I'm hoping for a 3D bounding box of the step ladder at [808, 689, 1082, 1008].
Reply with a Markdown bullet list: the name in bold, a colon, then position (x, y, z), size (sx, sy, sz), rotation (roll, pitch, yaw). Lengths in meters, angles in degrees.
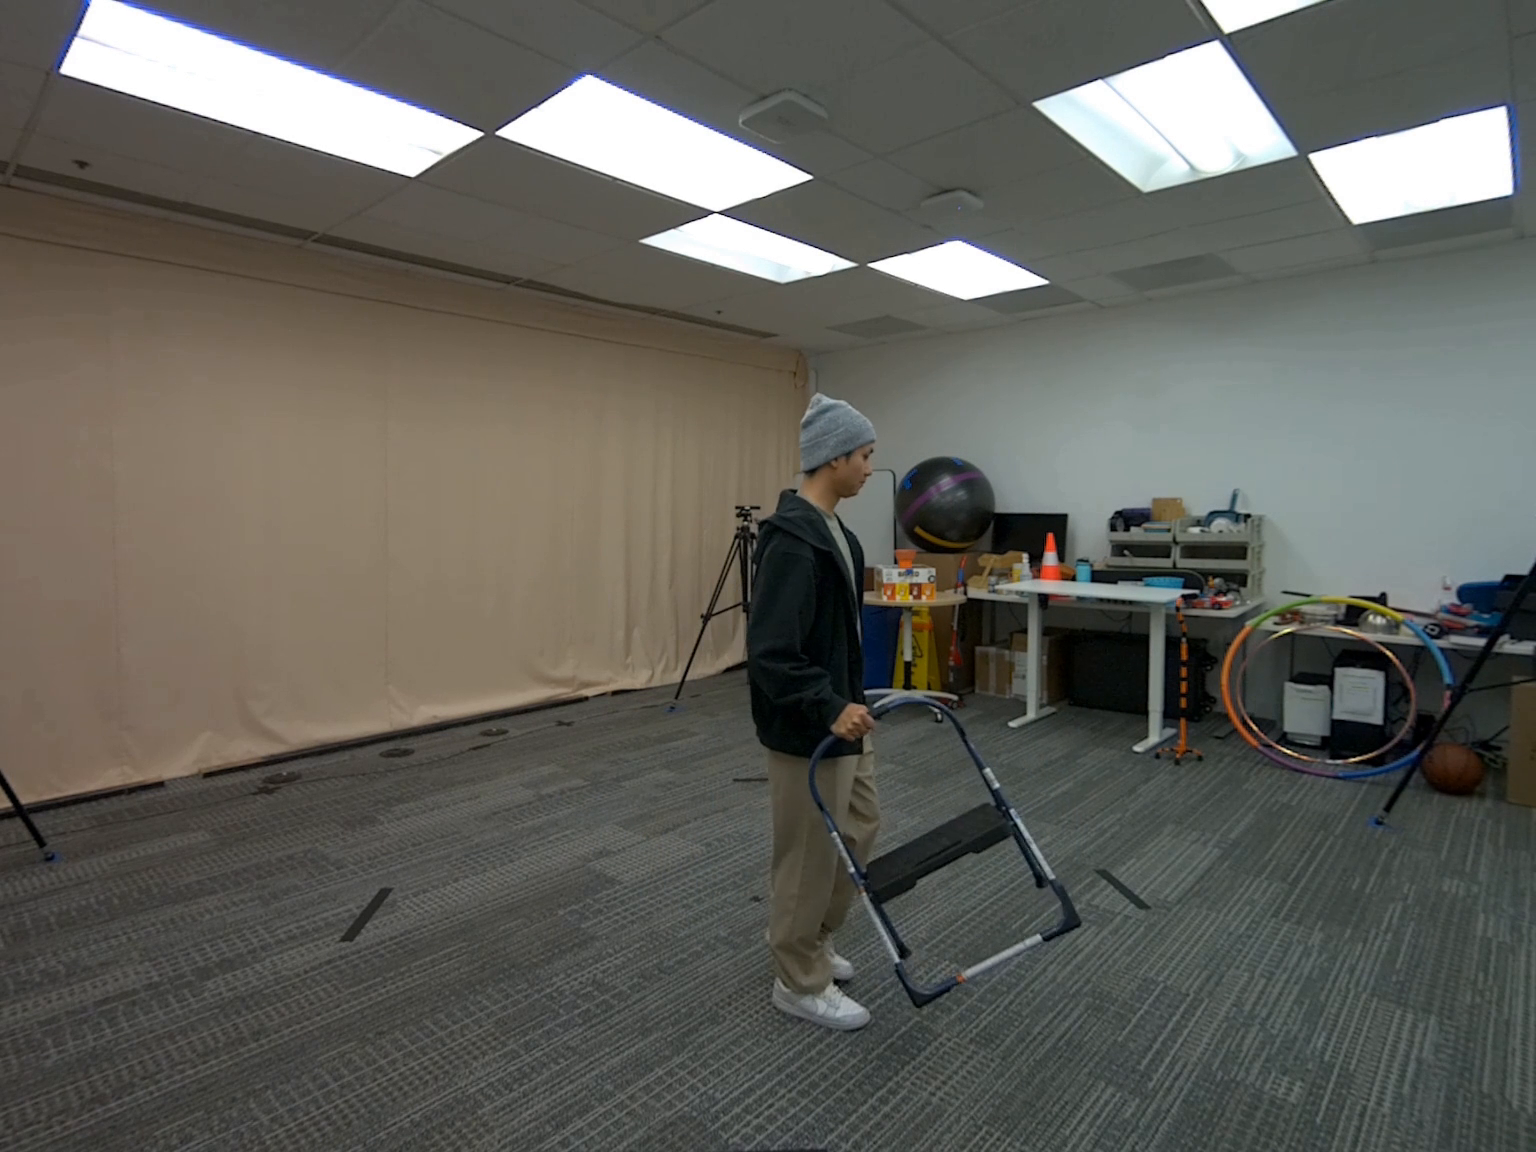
- **step ladder**: position (0.385, 0.613, 2.058), size (0.431, 0.612, 0.345), rotation (-29, -9, 2)
